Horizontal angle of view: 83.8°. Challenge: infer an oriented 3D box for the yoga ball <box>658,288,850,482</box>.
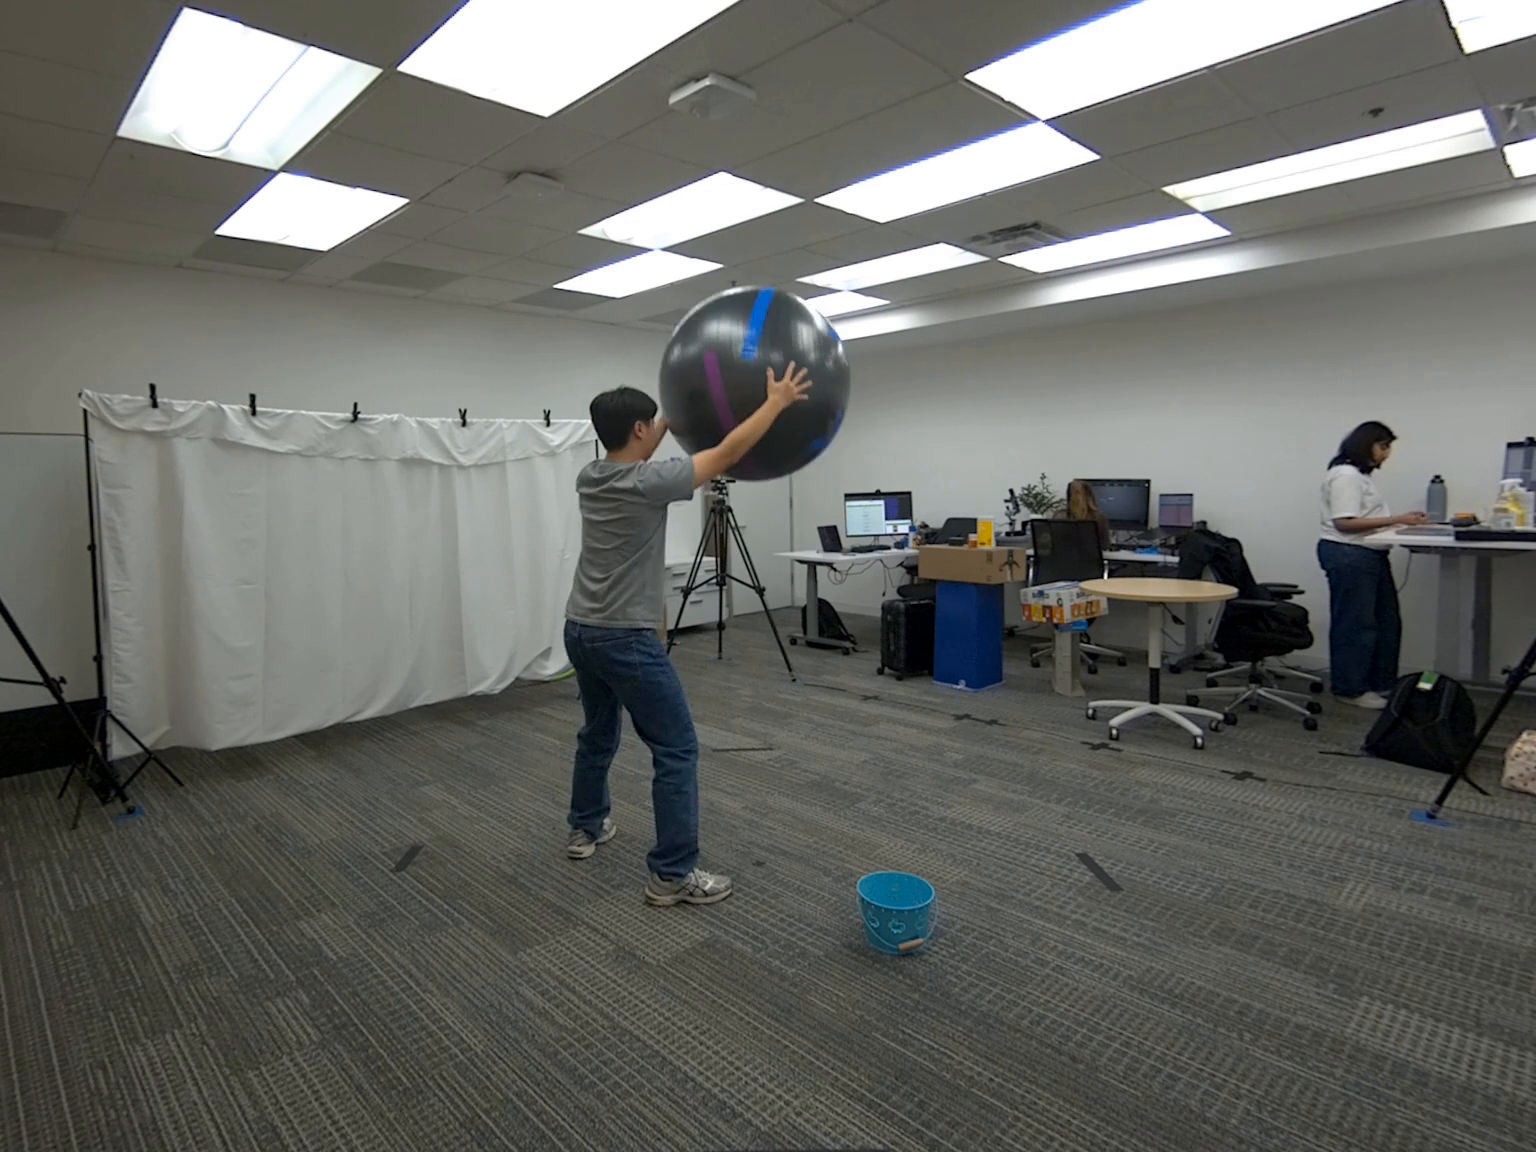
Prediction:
[{"bbox_3d":[-0.065,-0.719,3.383,0.757,0.755,0.762,-1,5,-2],"label":"yoga ball"}]
